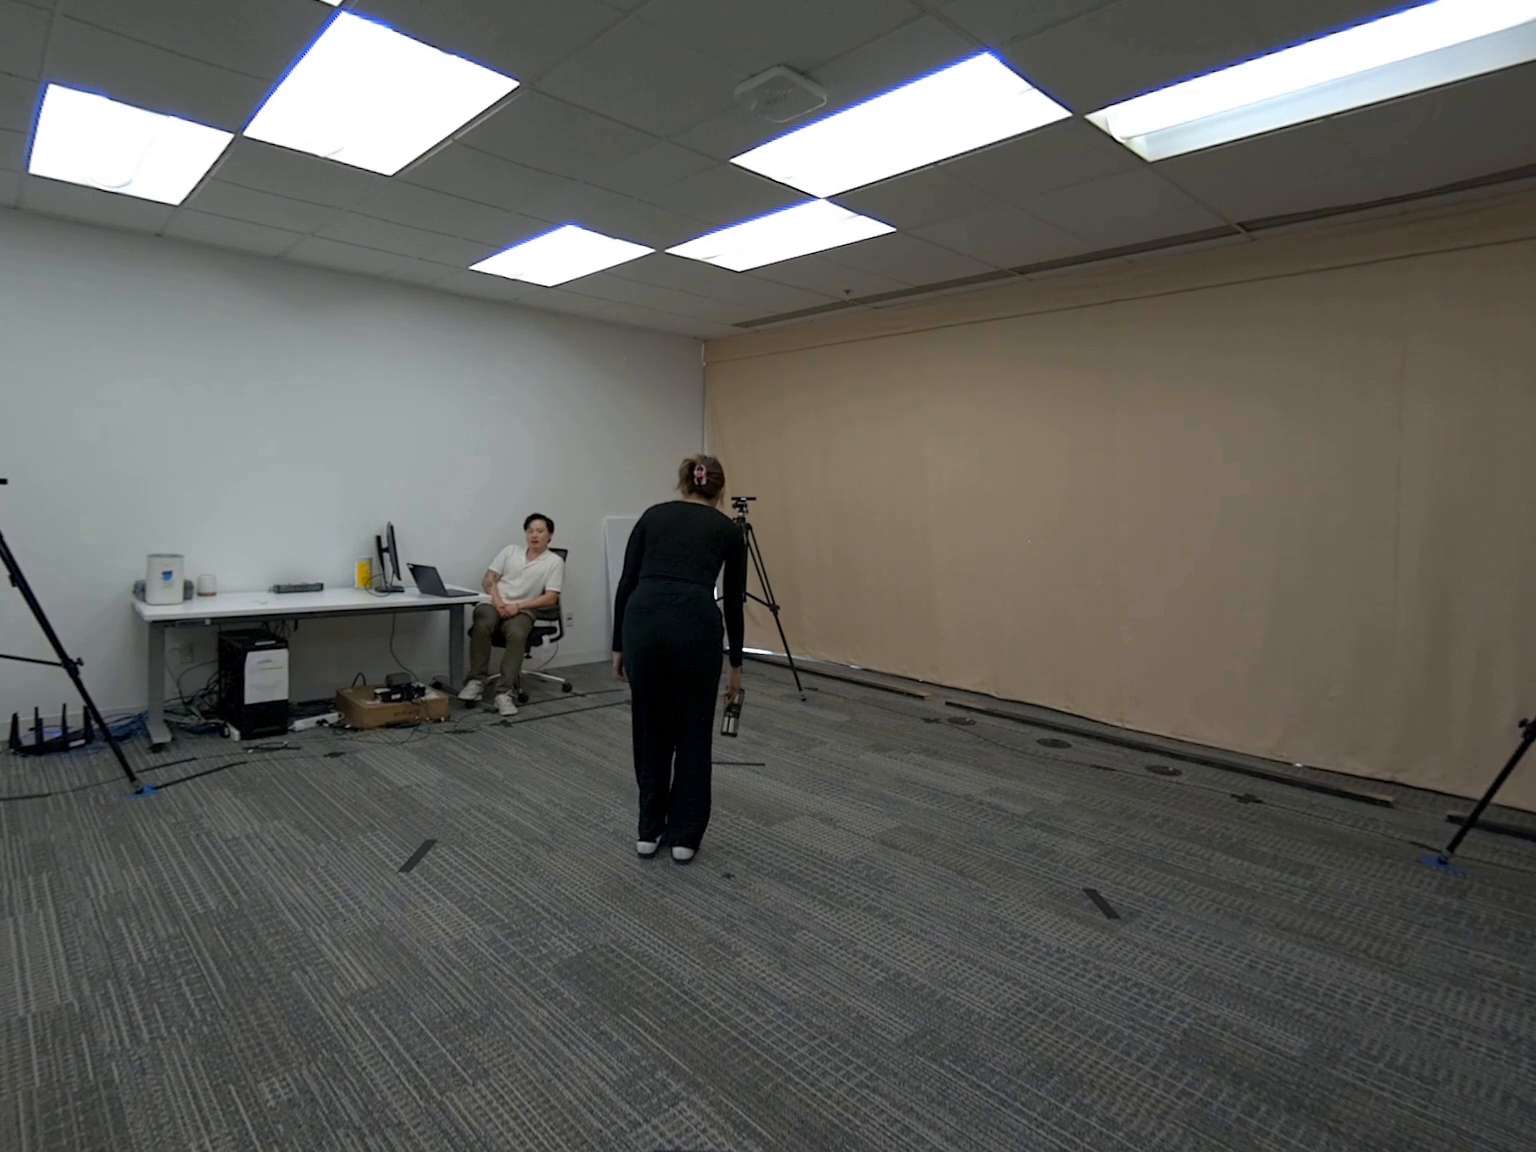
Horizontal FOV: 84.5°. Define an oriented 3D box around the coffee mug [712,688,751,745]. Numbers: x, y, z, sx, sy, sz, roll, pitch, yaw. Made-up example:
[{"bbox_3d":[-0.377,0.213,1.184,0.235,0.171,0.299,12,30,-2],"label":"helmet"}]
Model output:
[{"bbox_3d":[-0.168,0.584,3.526,0.118,0.205,0.089,24,-21,-36],"label":"coffee mug"}]
